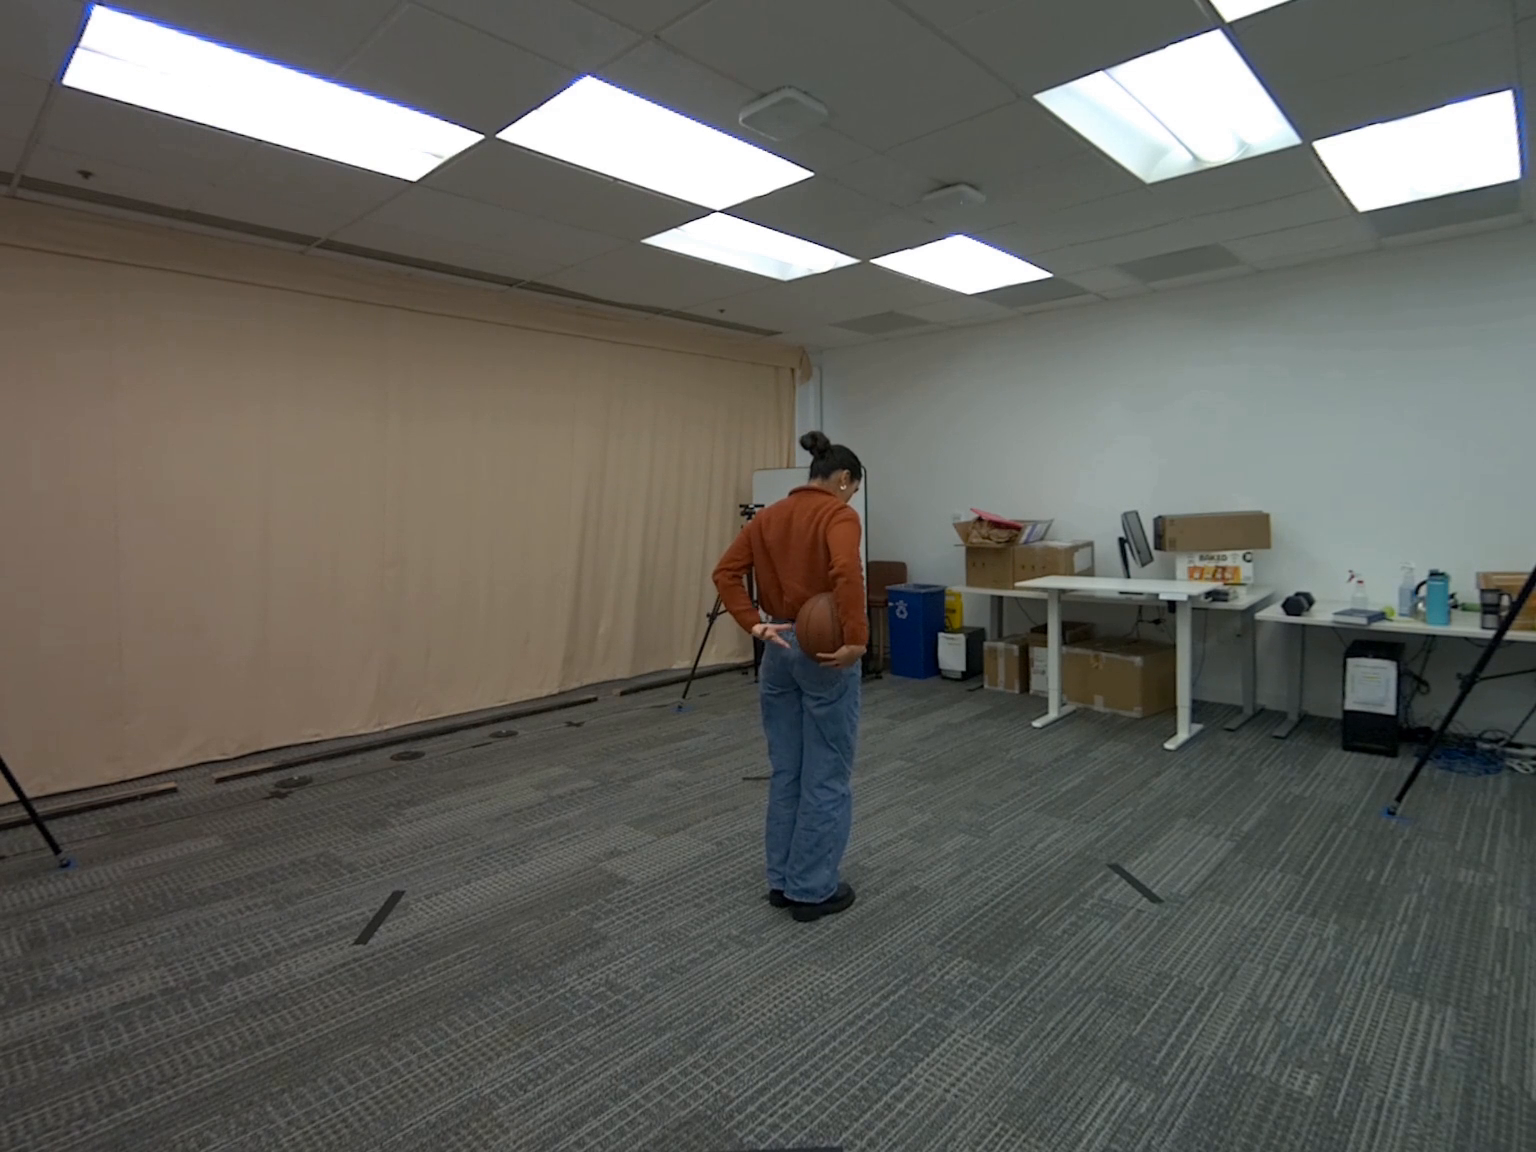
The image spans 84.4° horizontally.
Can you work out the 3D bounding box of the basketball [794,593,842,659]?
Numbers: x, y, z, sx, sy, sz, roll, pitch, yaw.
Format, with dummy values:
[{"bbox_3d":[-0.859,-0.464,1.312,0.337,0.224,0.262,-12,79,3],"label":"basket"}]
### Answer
[{"bbox_3d":[0.200,0.166,2.699,0.236,0.235,0.237,-1,4,-2],"label":"basketball"}]
